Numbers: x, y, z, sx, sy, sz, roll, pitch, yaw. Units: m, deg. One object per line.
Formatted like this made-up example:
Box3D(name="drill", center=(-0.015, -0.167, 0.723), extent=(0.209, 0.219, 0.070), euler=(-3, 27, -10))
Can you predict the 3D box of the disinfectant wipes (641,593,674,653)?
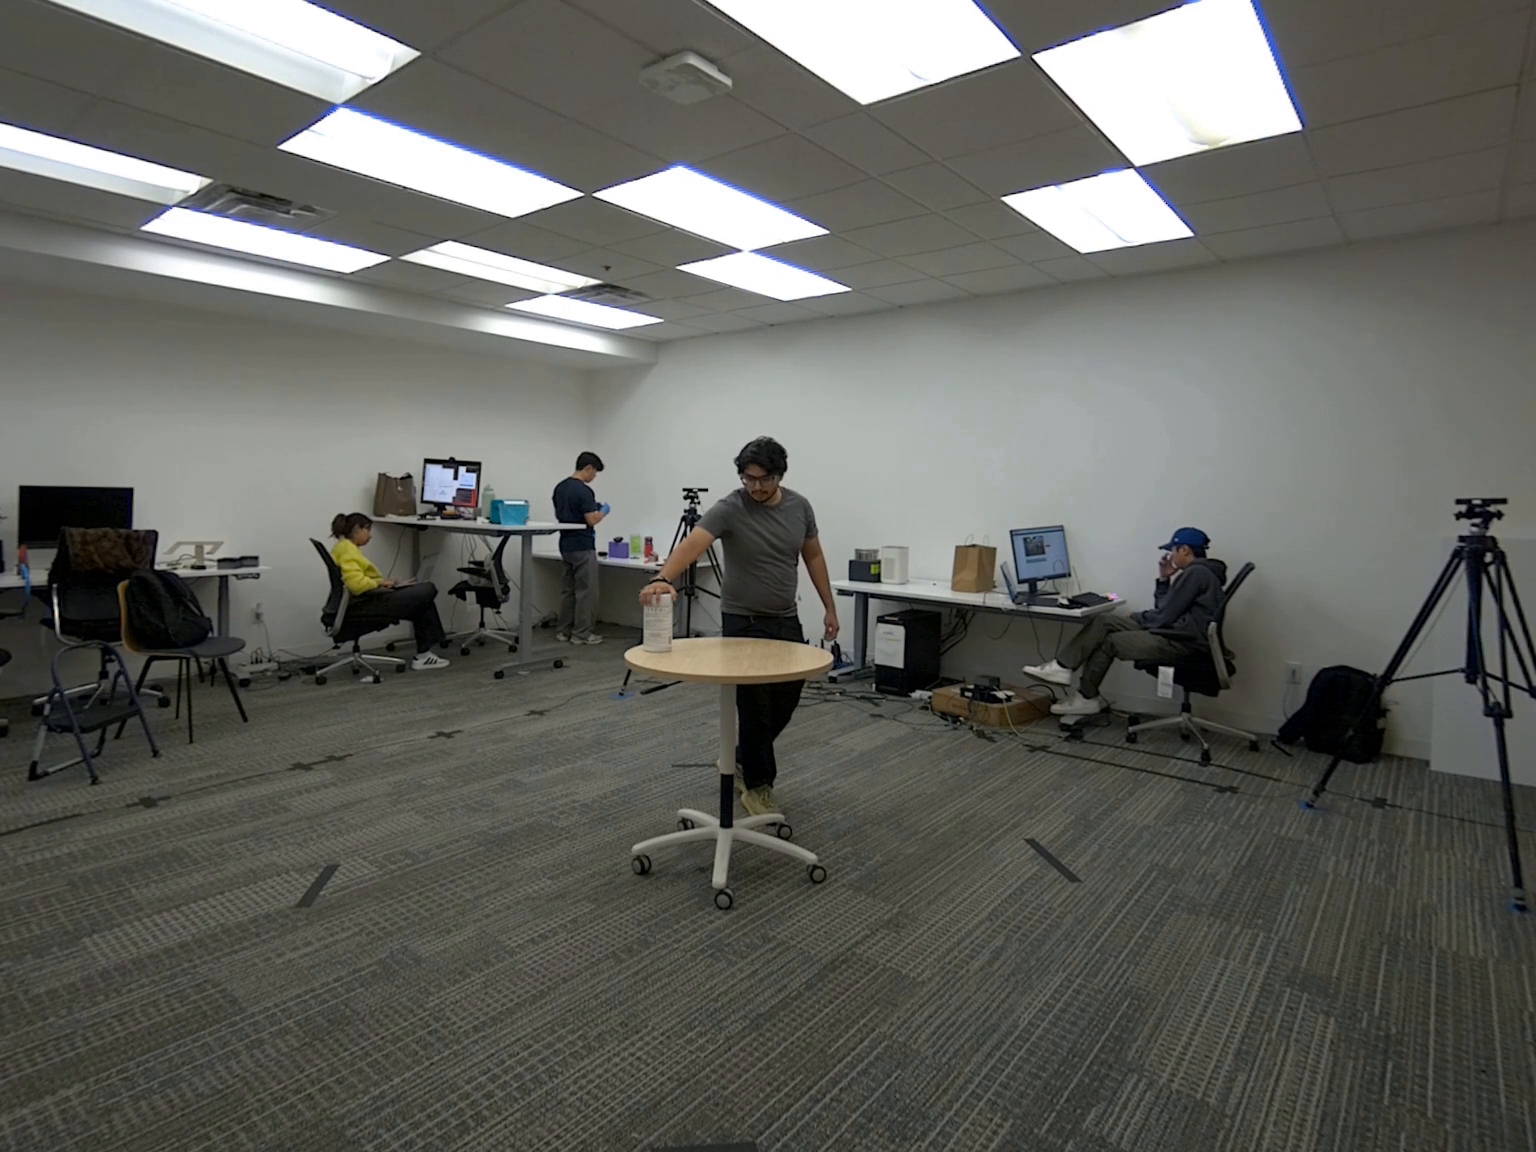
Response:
Box3D(name="disinfectant wipes", center=(-0.421, 0.171, 3.202), extent=(0.118, 0.217, 0.118), euler=(0, 0, -2))
